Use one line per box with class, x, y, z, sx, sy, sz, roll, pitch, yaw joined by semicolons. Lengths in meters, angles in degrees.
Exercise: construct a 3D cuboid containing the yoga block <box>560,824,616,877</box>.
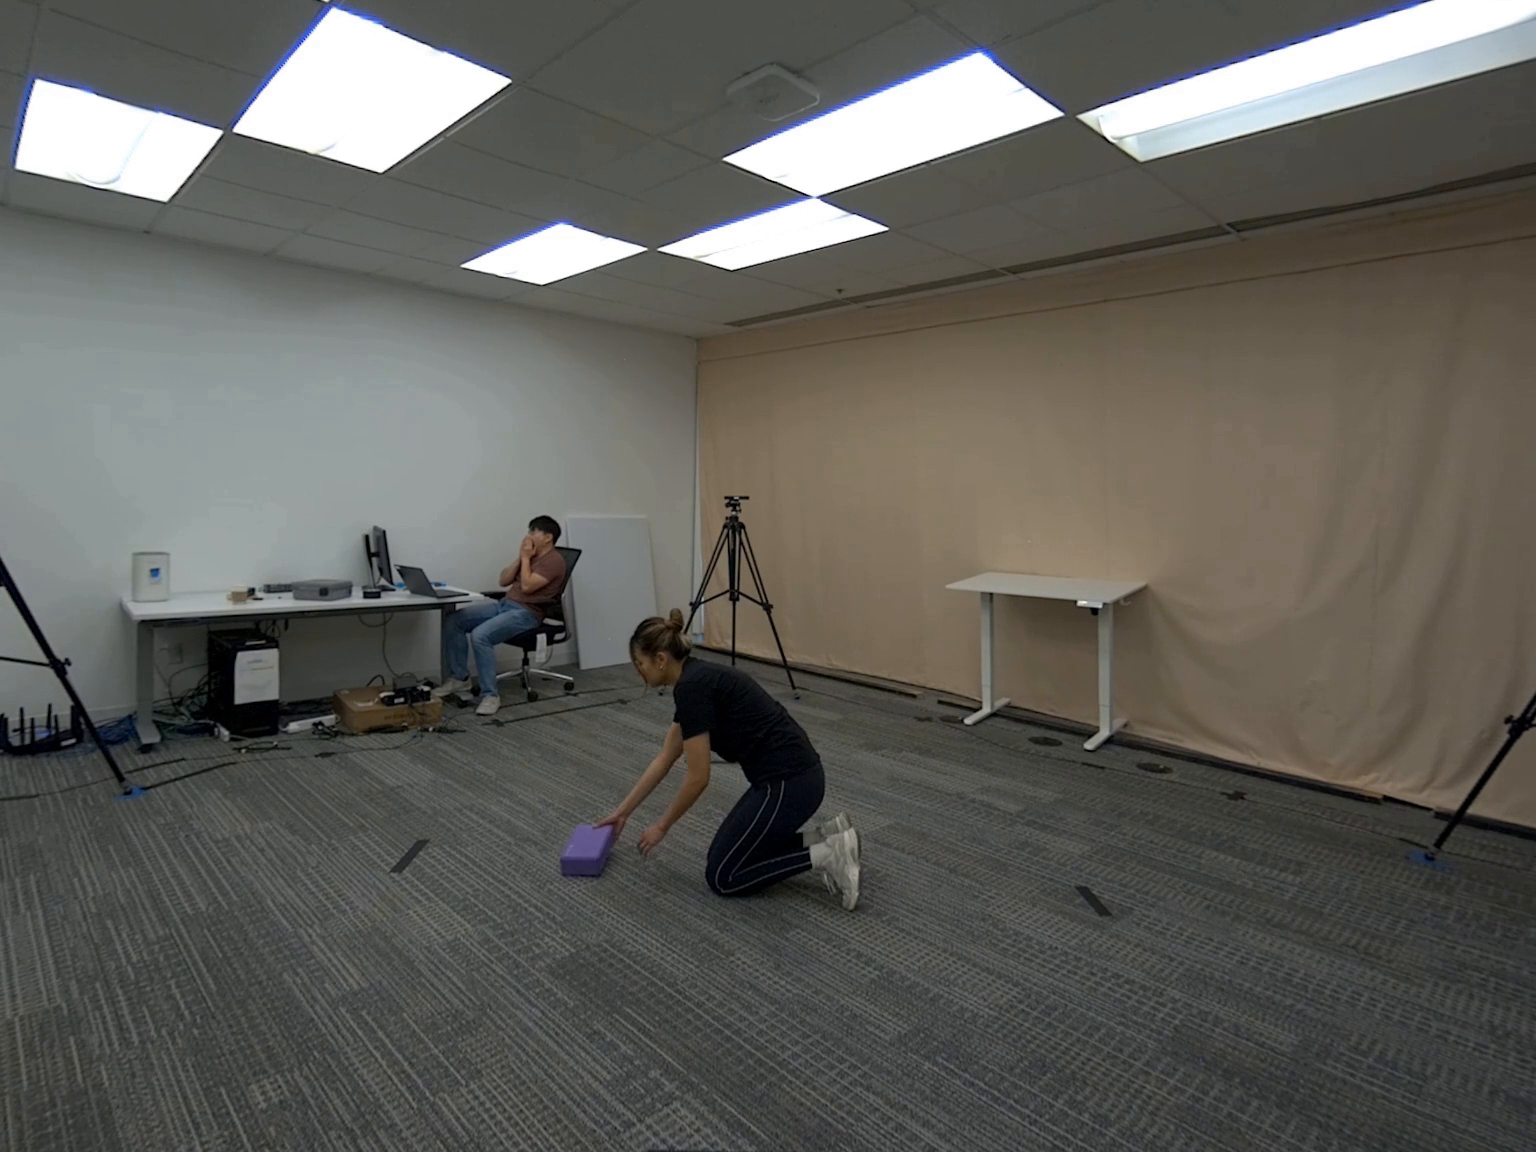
yoga block;-0.677;1.020;3.154;0.150;0.076;0.229;-2;11;8
